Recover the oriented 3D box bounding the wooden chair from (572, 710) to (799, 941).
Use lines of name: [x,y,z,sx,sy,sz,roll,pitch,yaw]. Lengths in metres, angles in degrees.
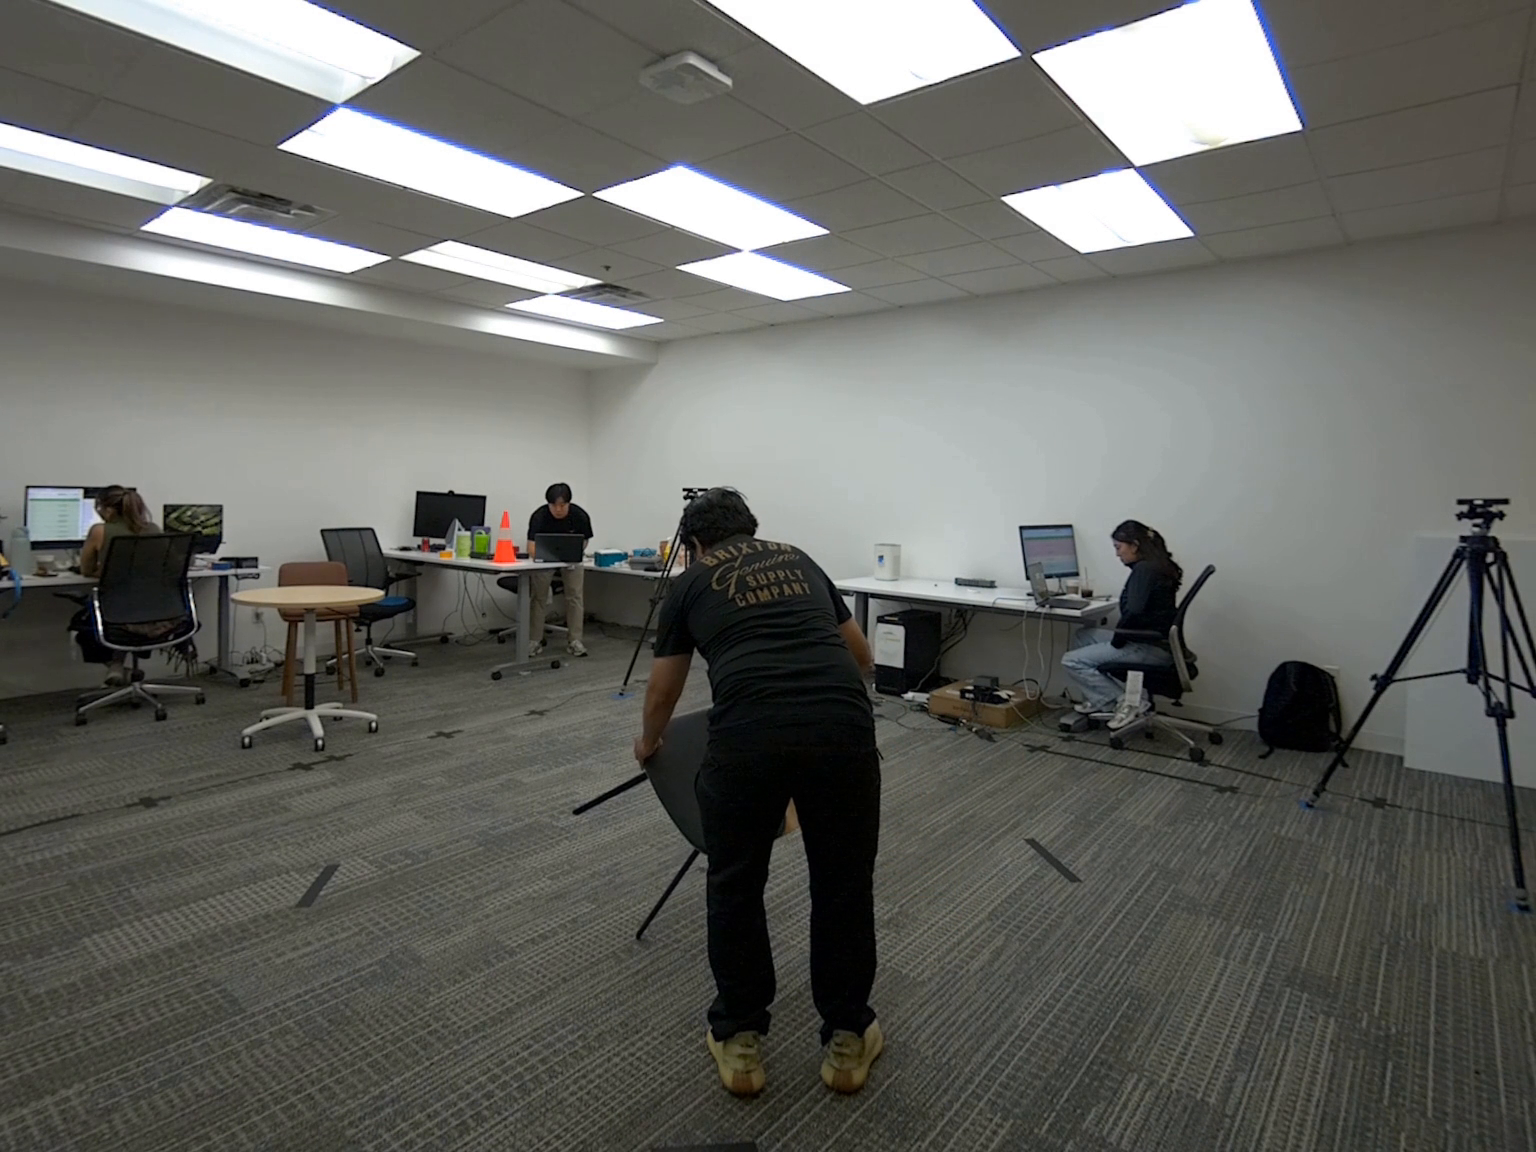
wooden chair: [-0.159,0.650,2.662,0.506,0.494,0.876,2,-44,-53]
